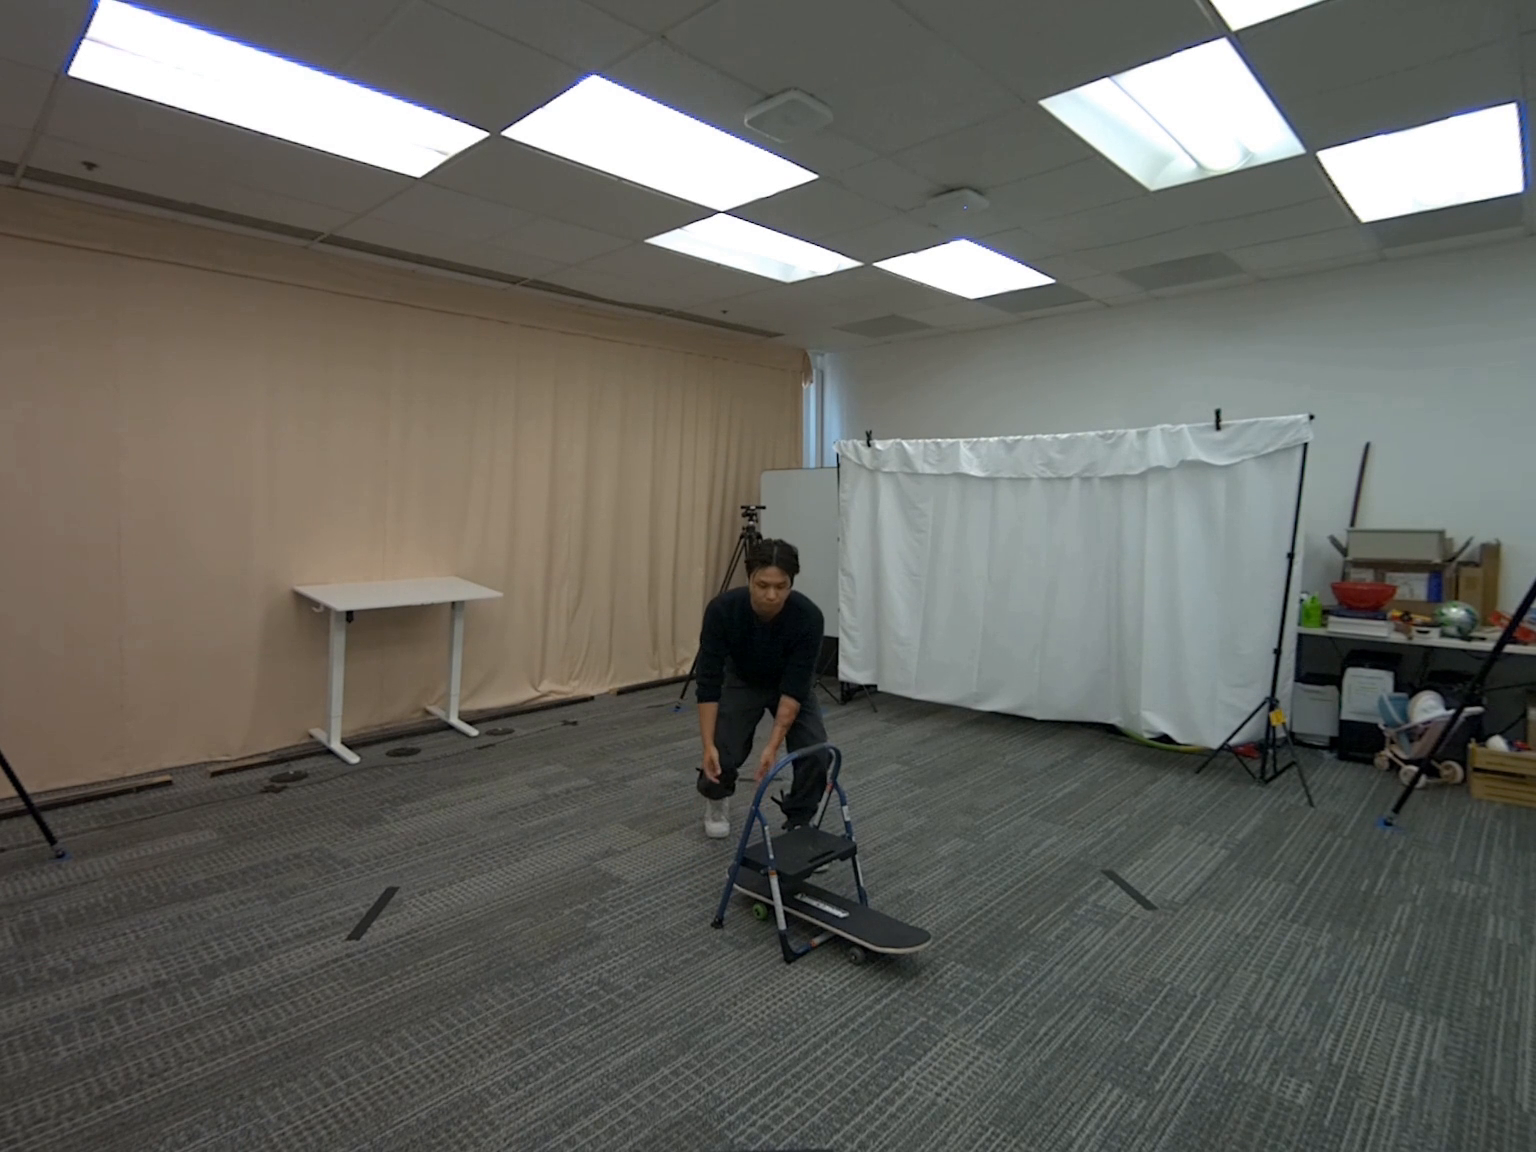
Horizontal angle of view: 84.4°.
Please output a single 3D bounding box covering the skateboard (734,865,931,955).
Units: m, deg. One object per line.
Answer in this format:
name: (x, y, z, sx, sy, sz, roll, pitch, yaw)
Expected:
skateboard: (0.177, 1.099, 2.757, 0.812, 0.110, 0.187, 4, 6, 43)
